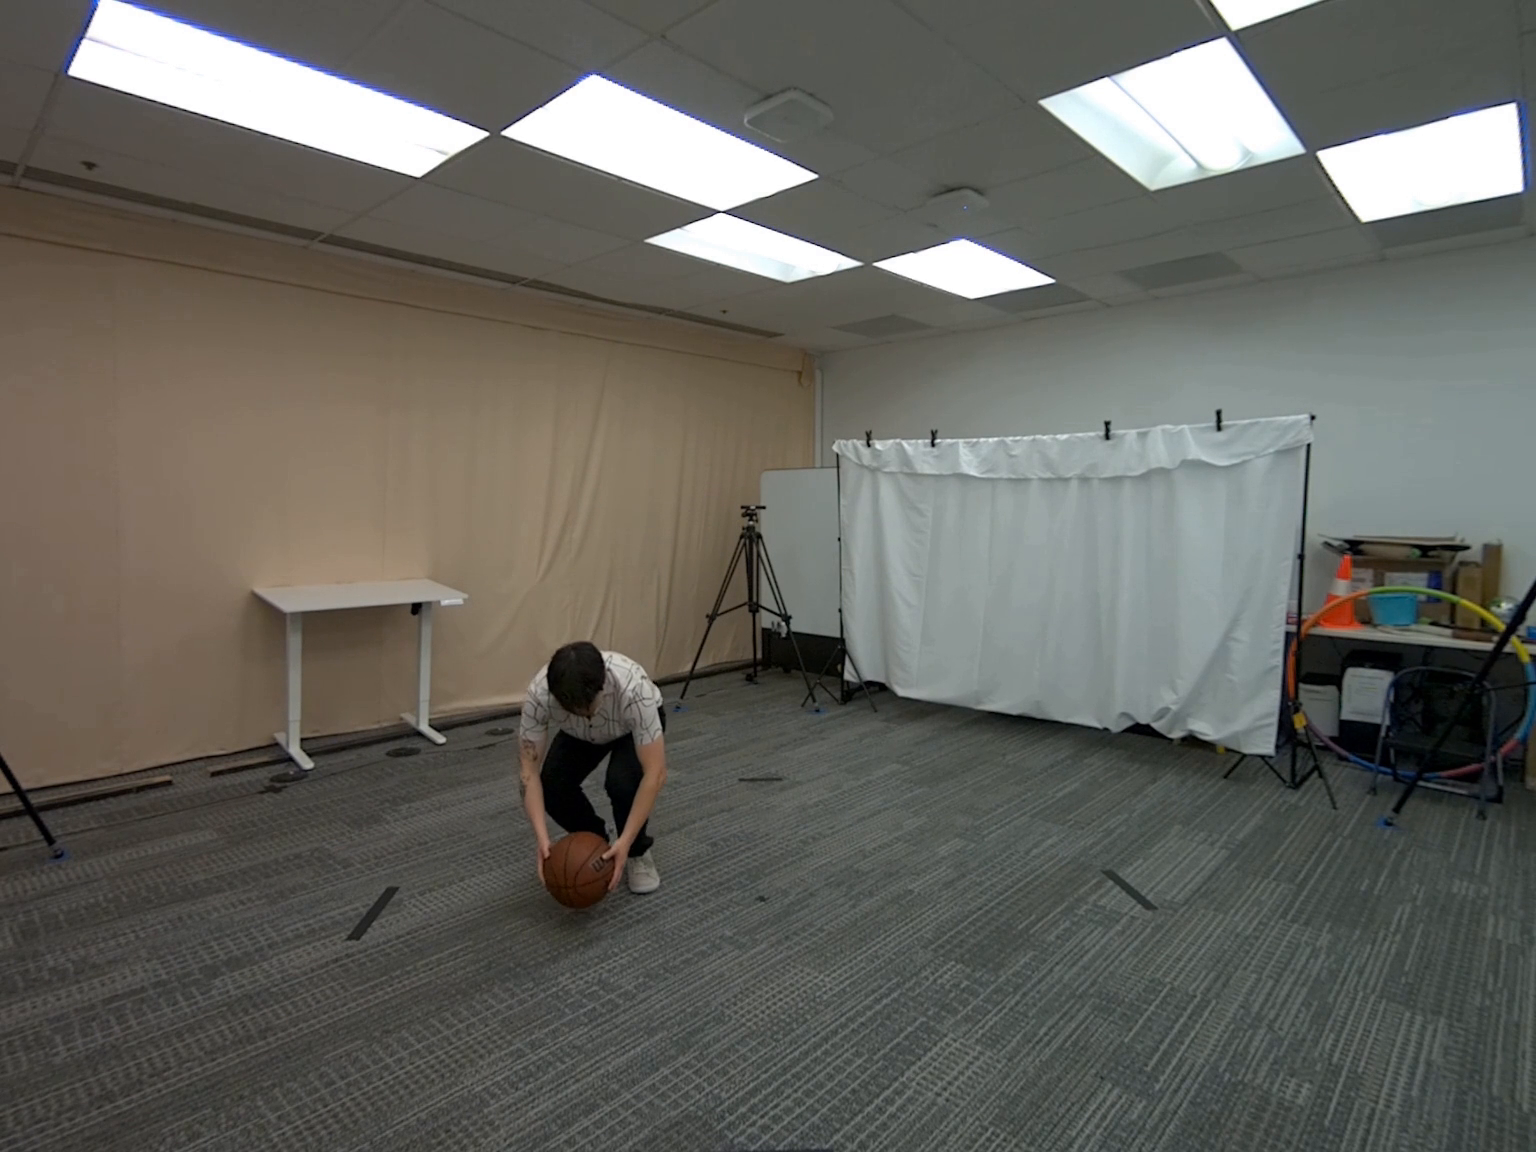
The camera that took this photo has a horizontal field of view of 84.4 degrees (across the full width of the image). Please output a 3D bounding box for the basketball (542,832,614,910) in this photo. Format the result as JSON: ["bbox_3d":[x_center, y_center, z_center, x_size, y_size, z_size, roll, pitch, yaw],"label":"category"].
[{"bbox_3d":[-0.622,0.967,2.802,0.236,0.235,0.237,0,4,-2],"label":"basketball"}]
